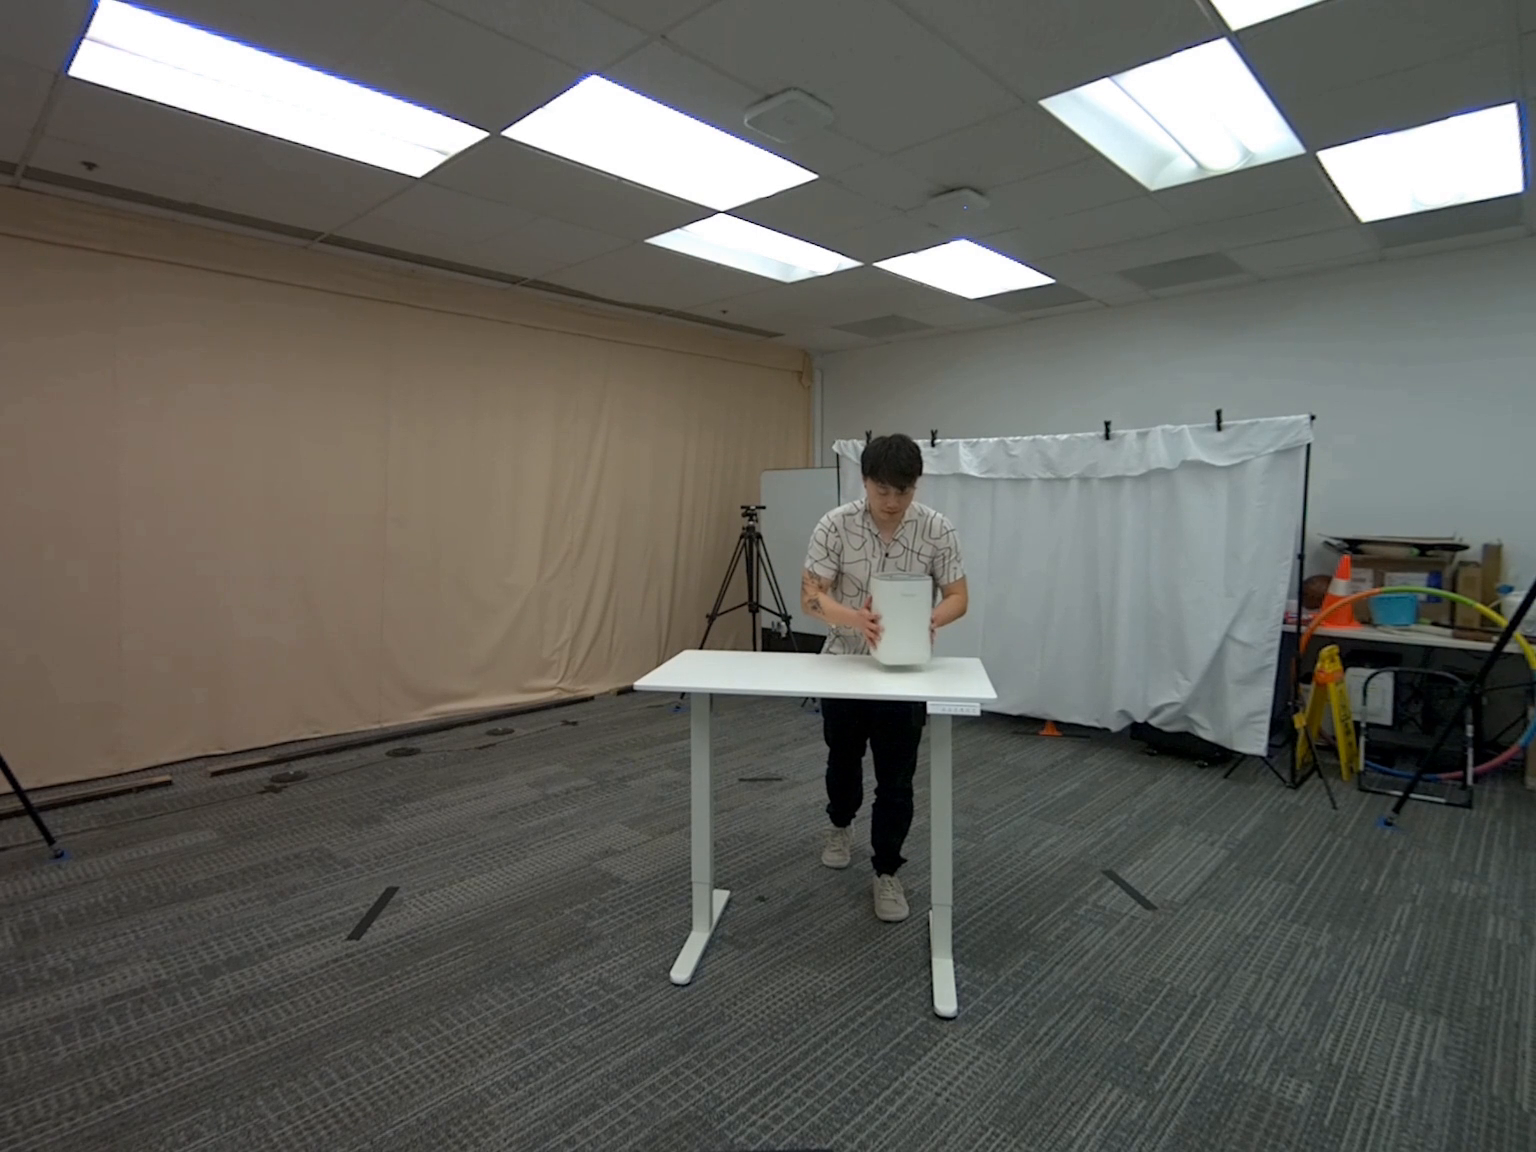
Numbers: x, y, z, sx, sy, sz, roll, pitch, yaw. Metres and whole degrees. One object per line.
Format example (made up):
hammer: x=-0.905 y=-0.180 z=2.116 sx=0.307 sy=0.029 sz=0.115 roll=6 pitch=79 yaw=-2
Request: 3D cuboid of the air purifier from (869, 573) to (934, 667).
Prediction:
air purifier: x=0.410 y=0.133 z=2.590 sx=0.170 sy=0.264 sz=0.173 roll=-1 pitch=6 yaw=-5
